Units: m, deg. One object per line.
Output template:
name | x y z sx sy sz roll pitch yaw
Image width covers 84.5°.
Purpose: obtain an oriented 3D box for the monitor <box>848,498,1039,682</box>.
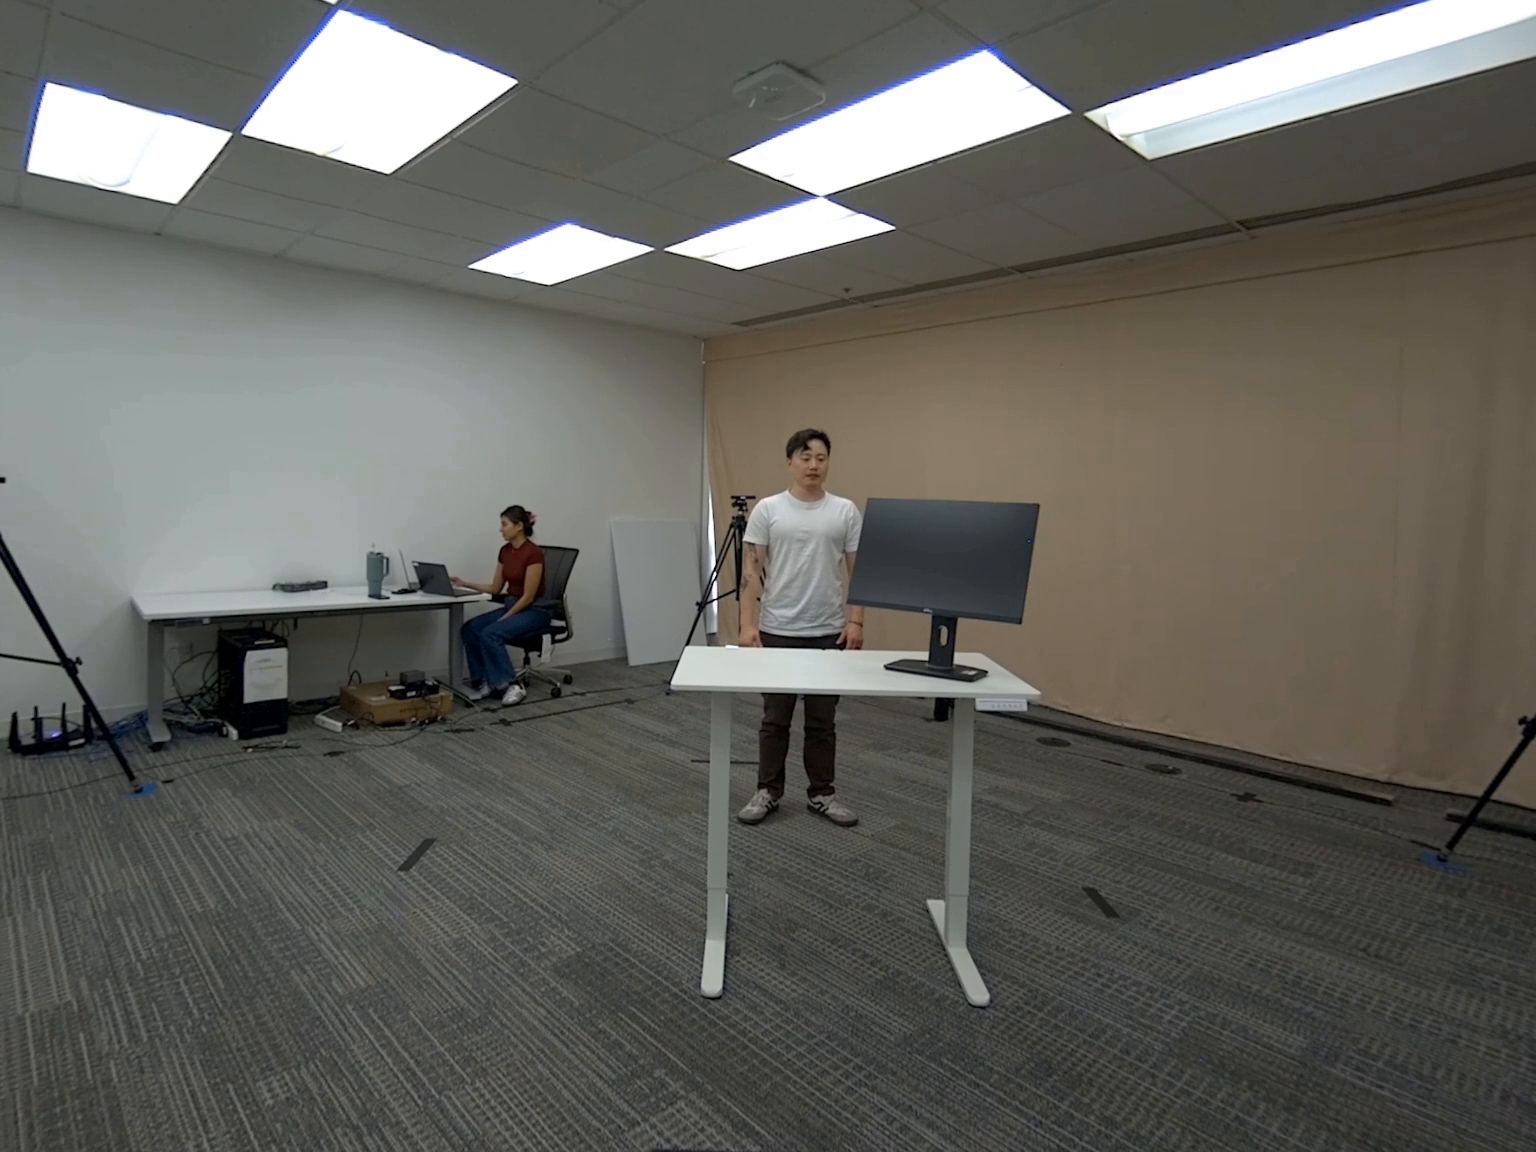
monitor | 0.517 0.038 2.526 0.551 0.523 0.183 4 0 30
